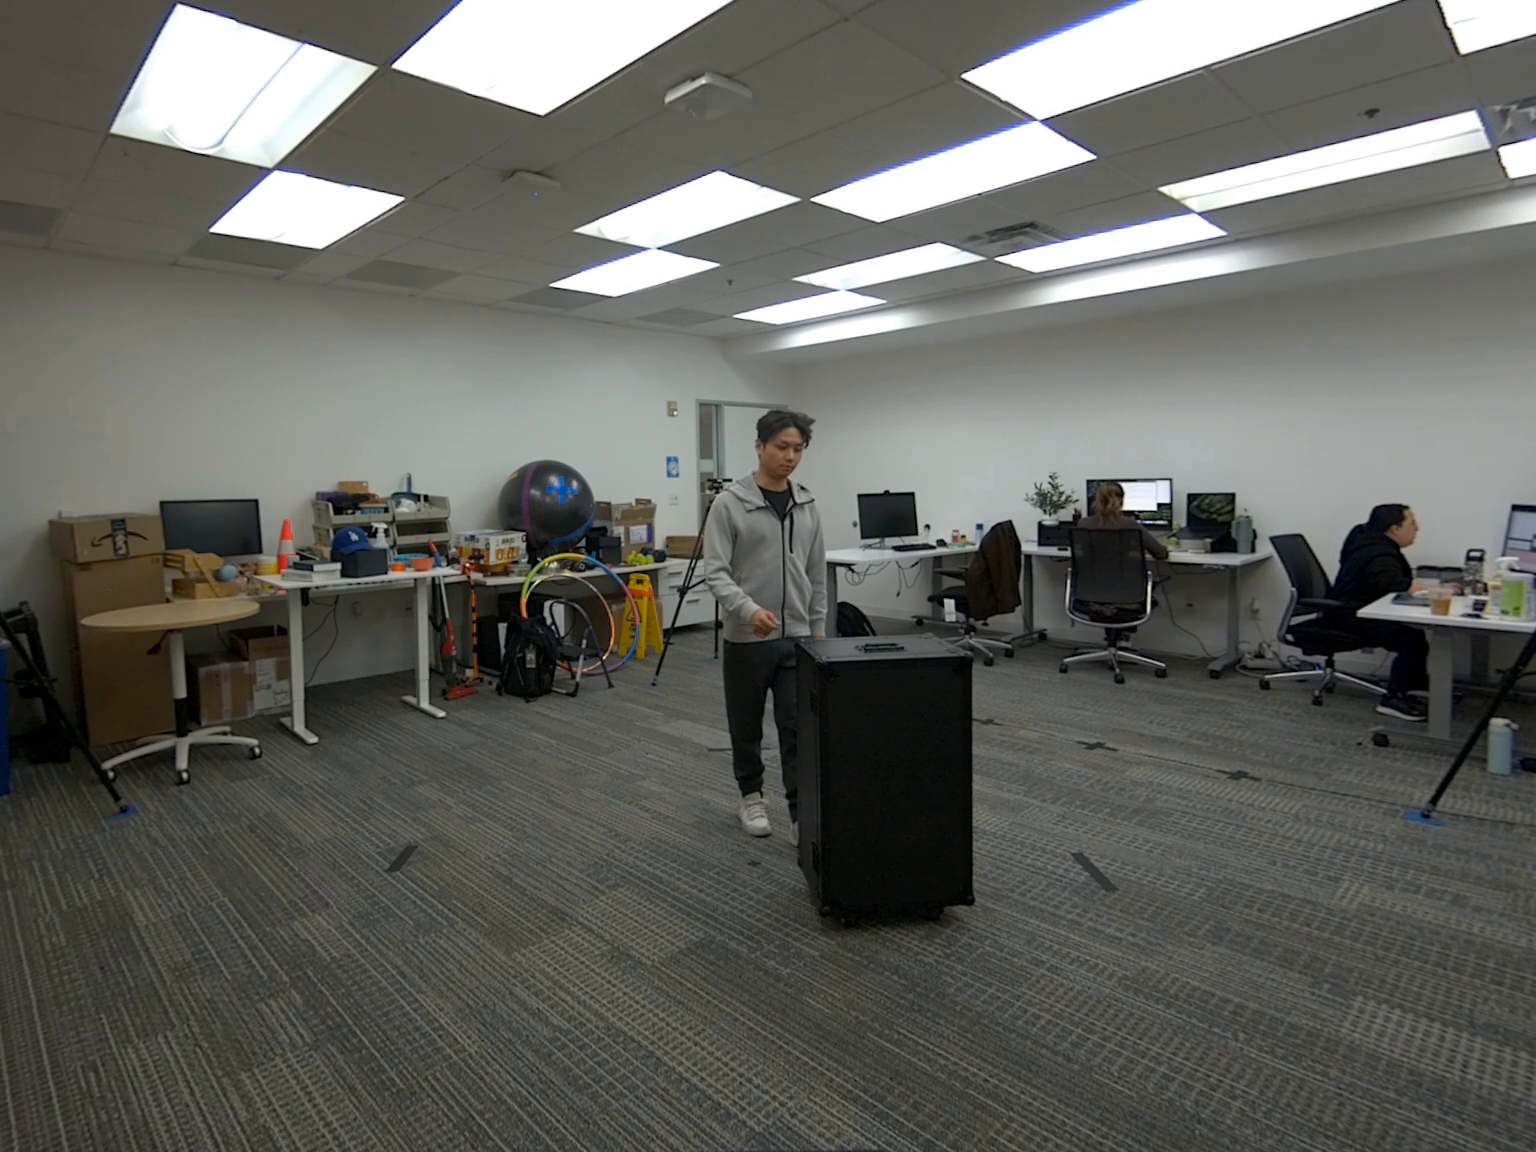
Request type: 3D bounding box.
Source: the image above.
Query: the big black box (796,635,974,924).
[{"bbox_3d":[0.367,0.651,2.768,0.517,0.859,0.401,-3,4,-9],"label":"big black box"}]
